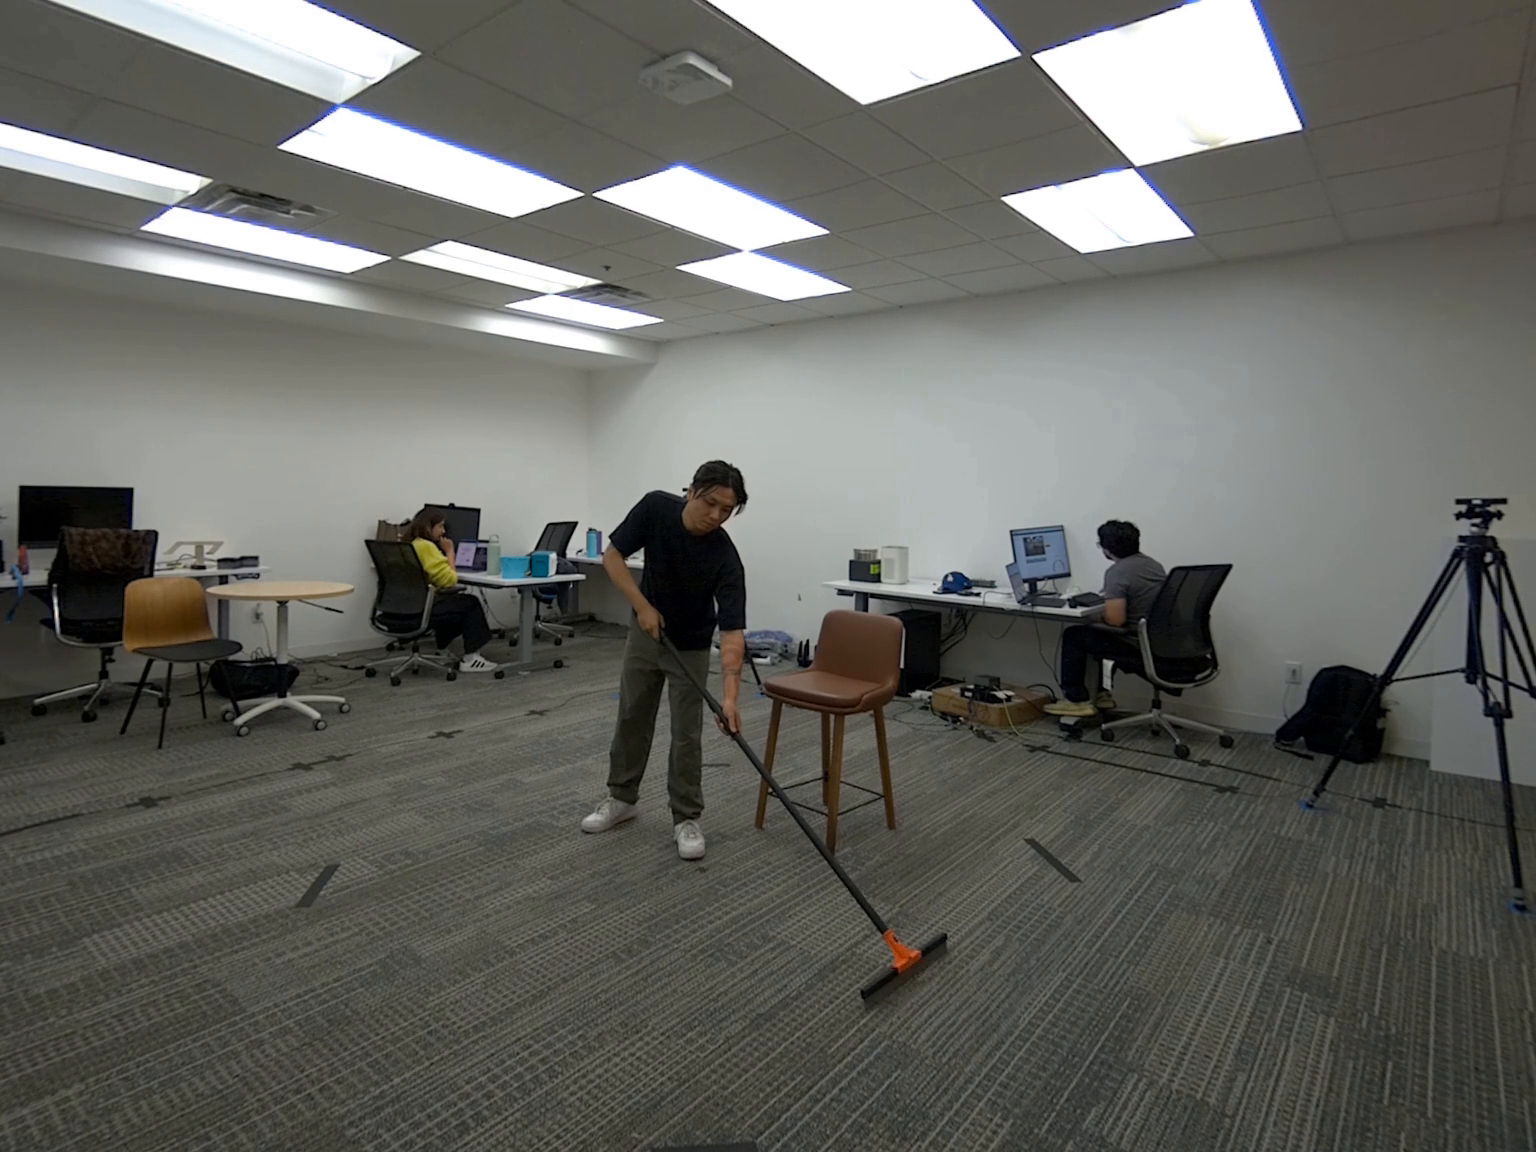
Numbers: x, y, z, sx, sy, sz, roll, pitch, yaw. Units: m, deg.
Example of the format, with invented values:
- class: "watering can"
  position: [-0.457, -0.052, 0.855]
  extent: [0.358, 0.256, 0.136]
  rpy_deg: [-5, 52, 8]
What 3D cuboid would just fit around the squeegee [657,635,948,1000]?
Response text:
- class: "squeegee"
  position: [-0.057, 0.598, 2.827]
  extent: [0.425, 0.052, 1.596]
  rpy_deg: [-6, 45, -46]
